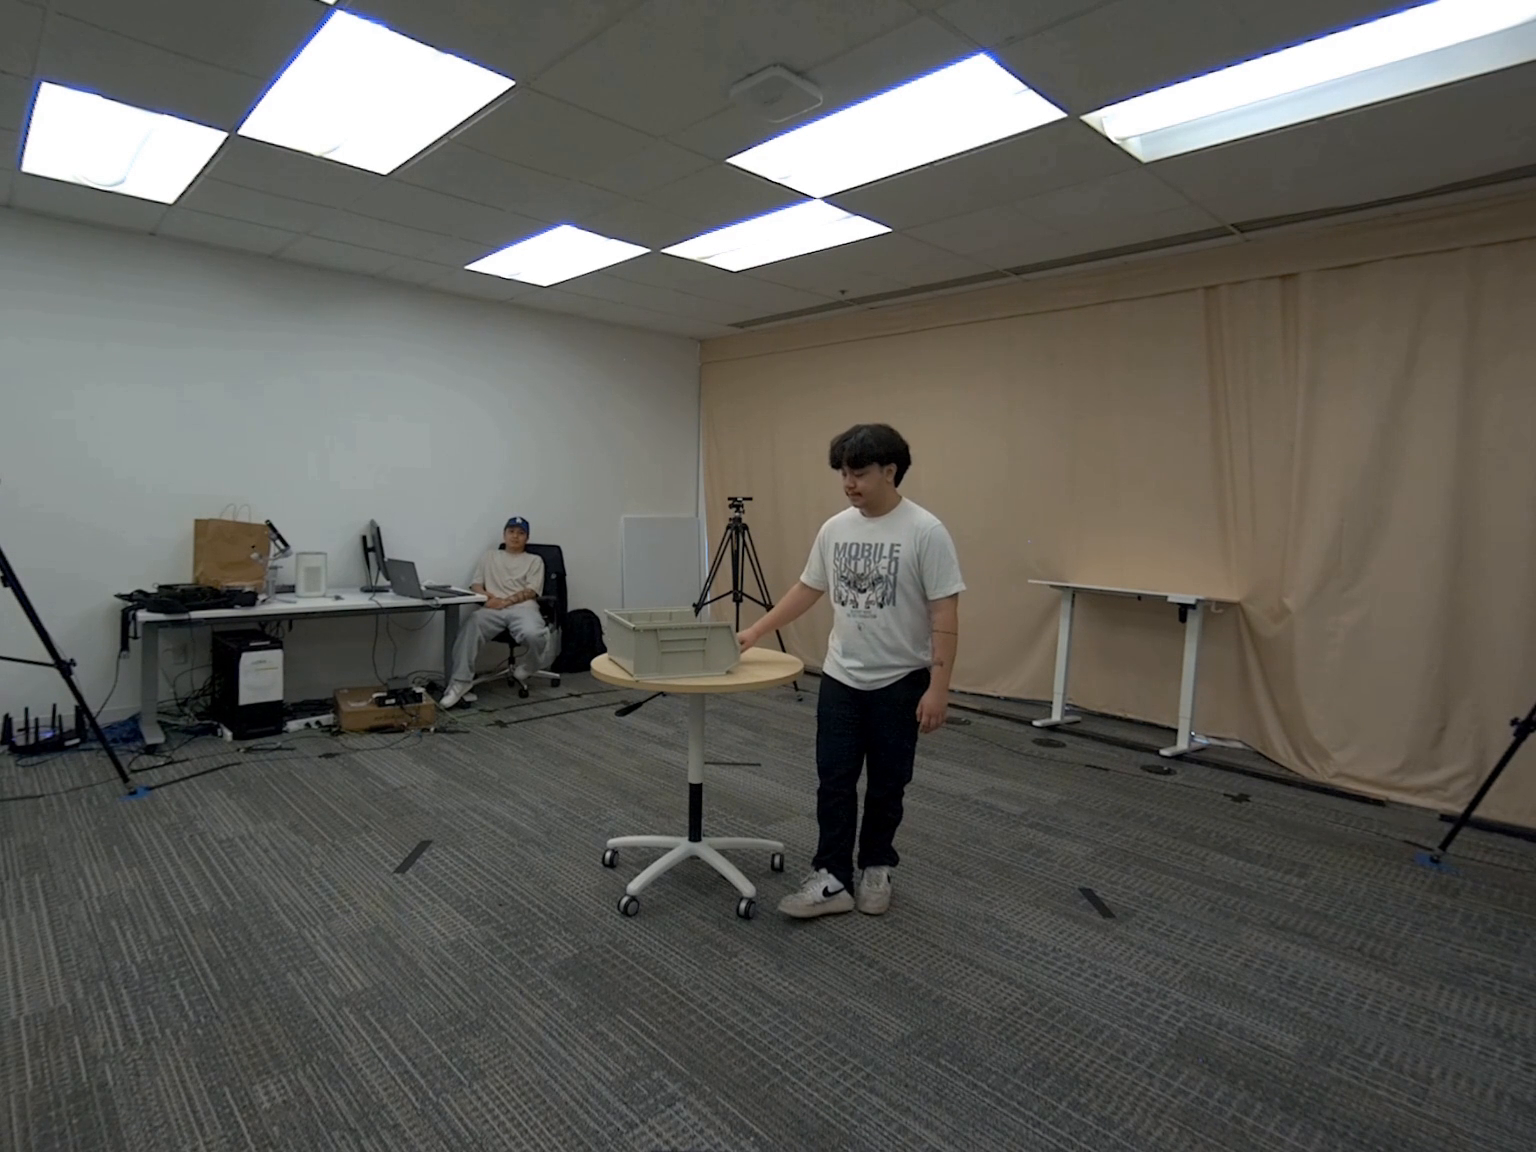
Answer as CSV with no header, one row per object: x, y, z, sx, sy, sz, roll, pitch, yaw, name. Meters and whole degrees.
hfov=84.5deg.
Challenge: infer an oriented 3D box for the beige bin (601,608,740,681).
-0.346,0.231,2.958,0.371,0.188,0.430,-2,6,-23,beige bin
